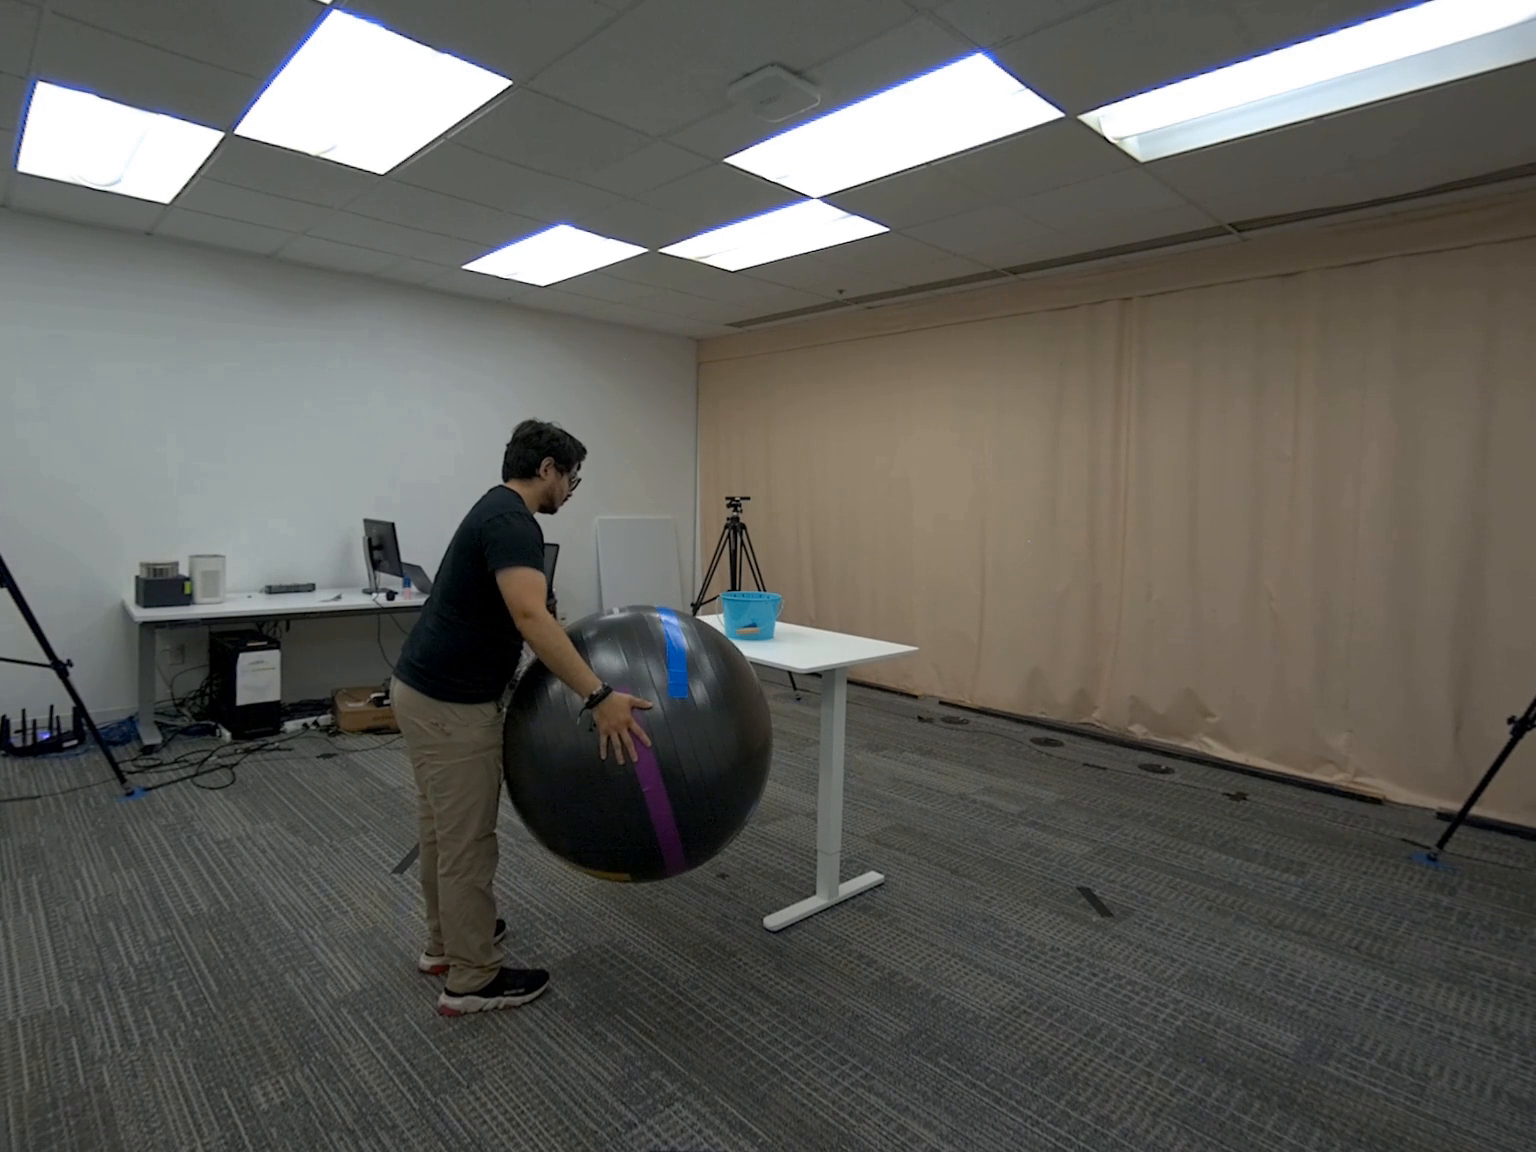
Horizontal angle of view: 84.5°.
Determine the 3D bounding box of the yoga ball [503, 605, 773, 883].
[{"bbox_3d":[-0.376,0.477,2.377,0.757,0.756,0.761,1,4,-1],"label":"yoga ball"}]
